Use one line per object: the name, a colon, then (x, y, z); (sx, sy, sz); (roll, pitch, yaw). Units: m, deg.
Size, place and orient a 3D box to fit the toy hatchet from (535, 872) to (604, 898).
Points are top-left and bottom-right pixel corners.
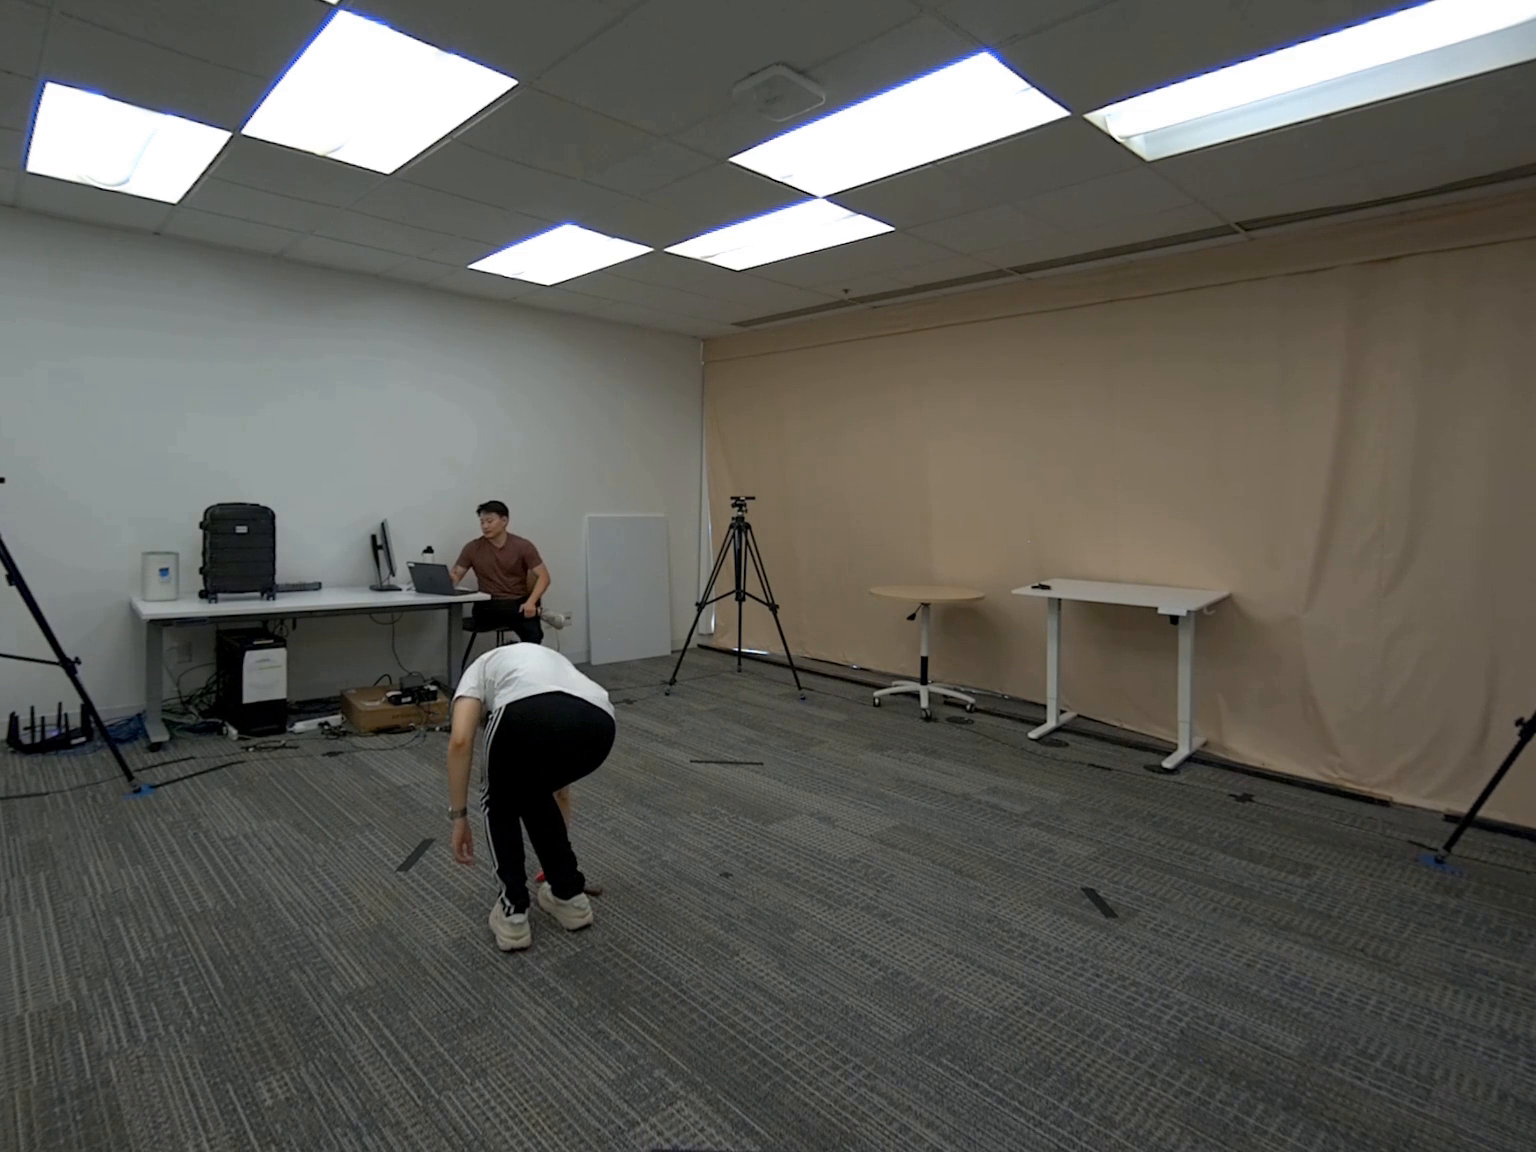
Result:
toy hatchet: (-0.697, 1.085, 3.019); (0.274, 0.029, 0.129); (6, 6, 20)
